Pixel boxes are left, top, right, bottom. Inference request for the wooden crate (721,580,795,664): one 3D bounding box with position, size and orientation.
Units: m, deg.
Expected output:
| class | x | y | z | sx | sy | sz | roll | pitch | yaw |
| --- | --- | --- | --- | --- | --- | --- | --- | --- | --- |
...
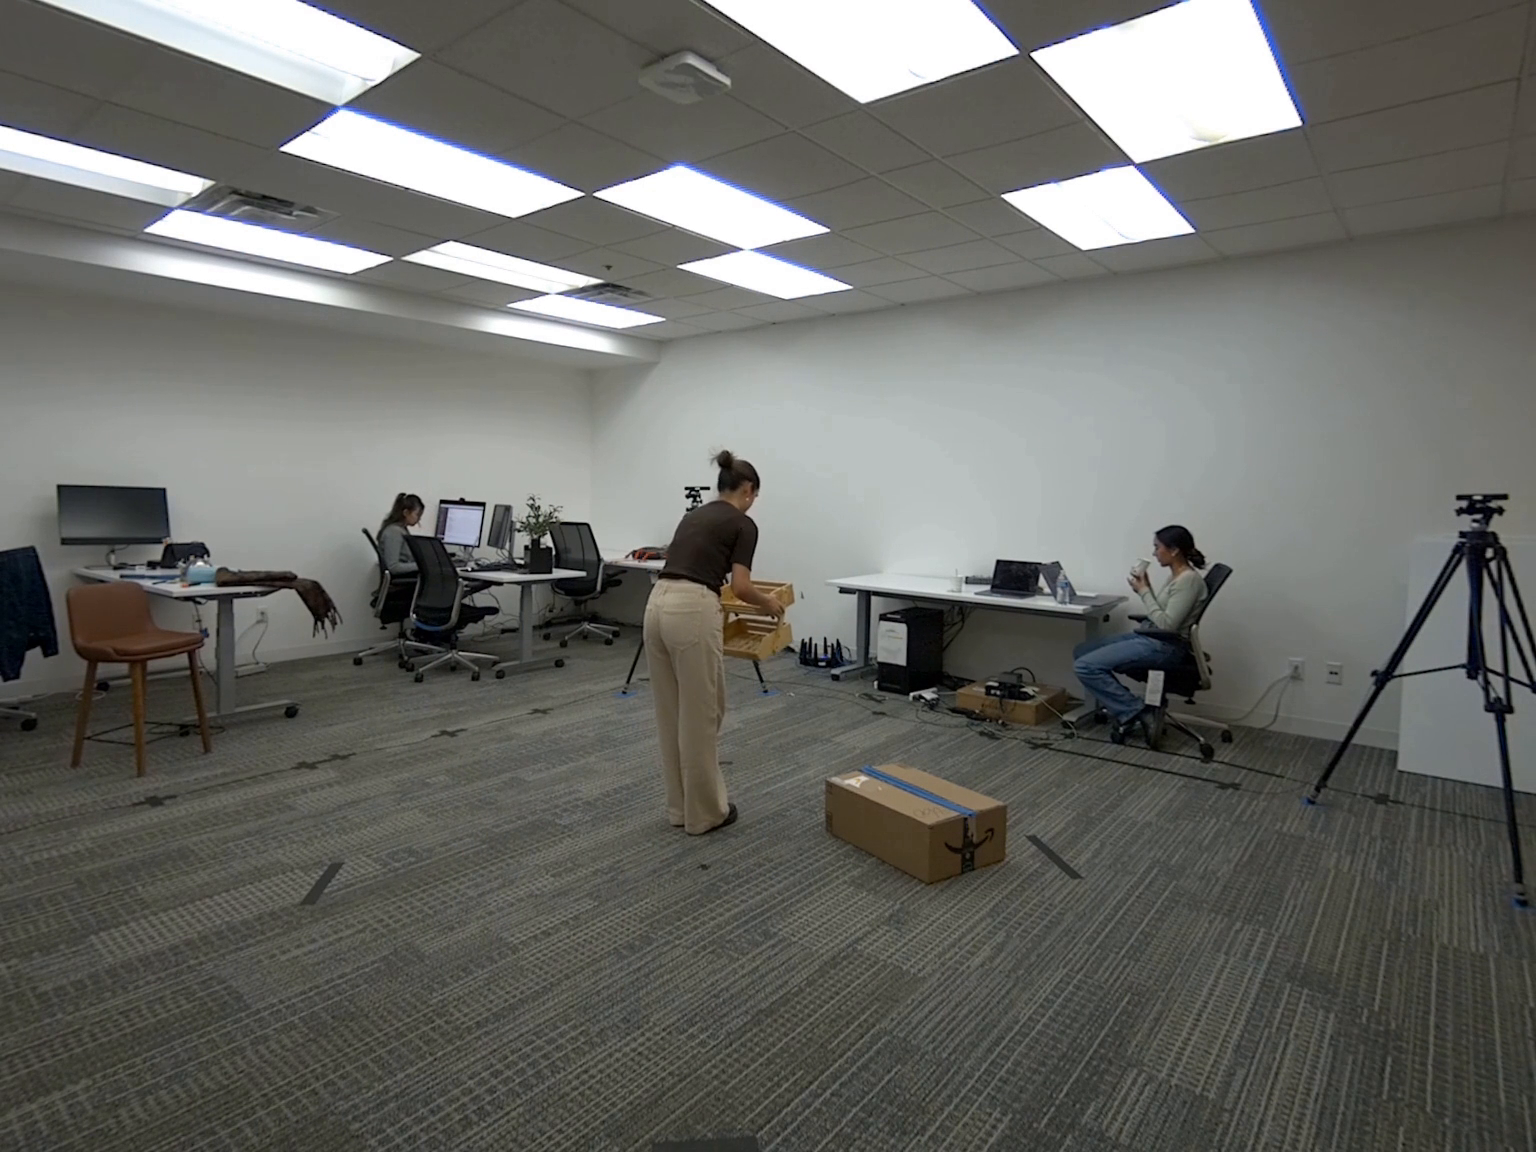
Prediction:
| class | x | y | z | sx | sy | sz | roll | pitch | yaw |
| --- | --- | --- | --- | --- | --- | --- | --- | --- | --- |
| wooden crate | -0.099 | 0.184 | 3.757 | 0.335 | 0.270 | 0.296 | 4 | 17 | 40 |
